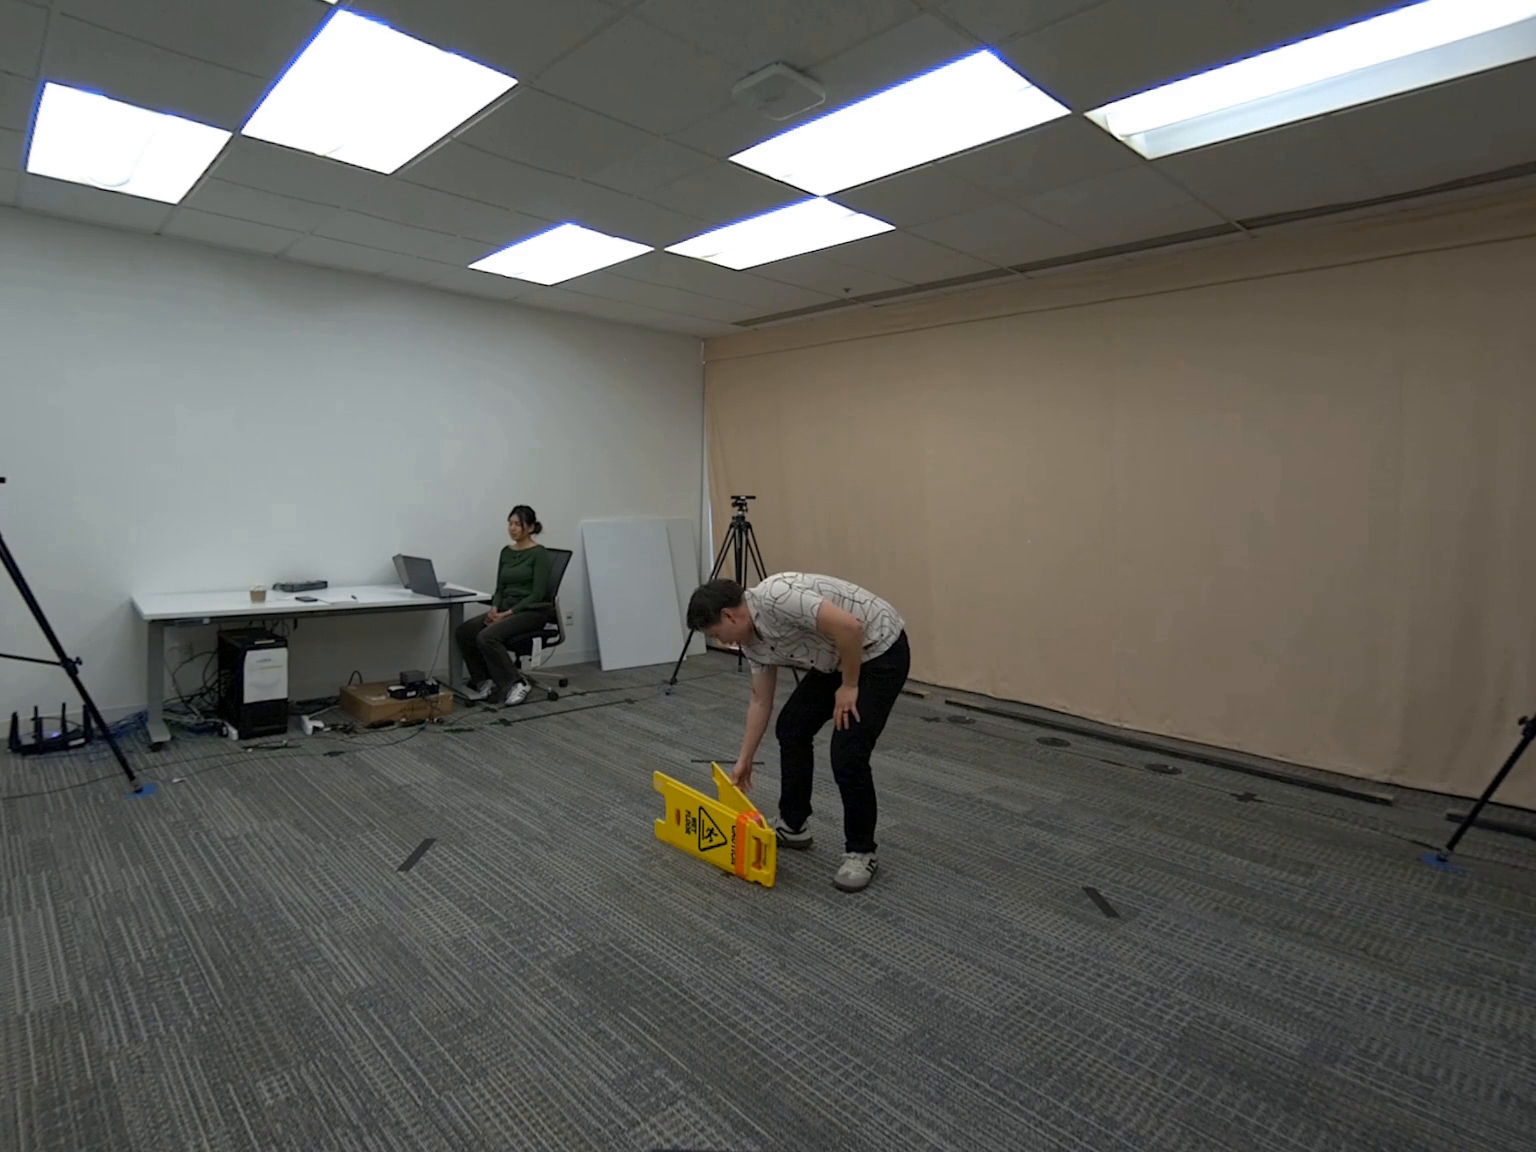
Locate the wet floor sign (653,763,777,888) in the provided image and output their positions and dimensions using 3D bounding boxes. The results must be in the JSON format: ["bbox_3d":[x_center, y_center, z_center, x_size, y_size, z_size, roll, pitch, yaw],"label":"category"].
[{"bbox_3d":[-0.169,0.961,3.230,0.284,0.281,0.662,-3,8,-33],"label":"wet floor sign"}]
